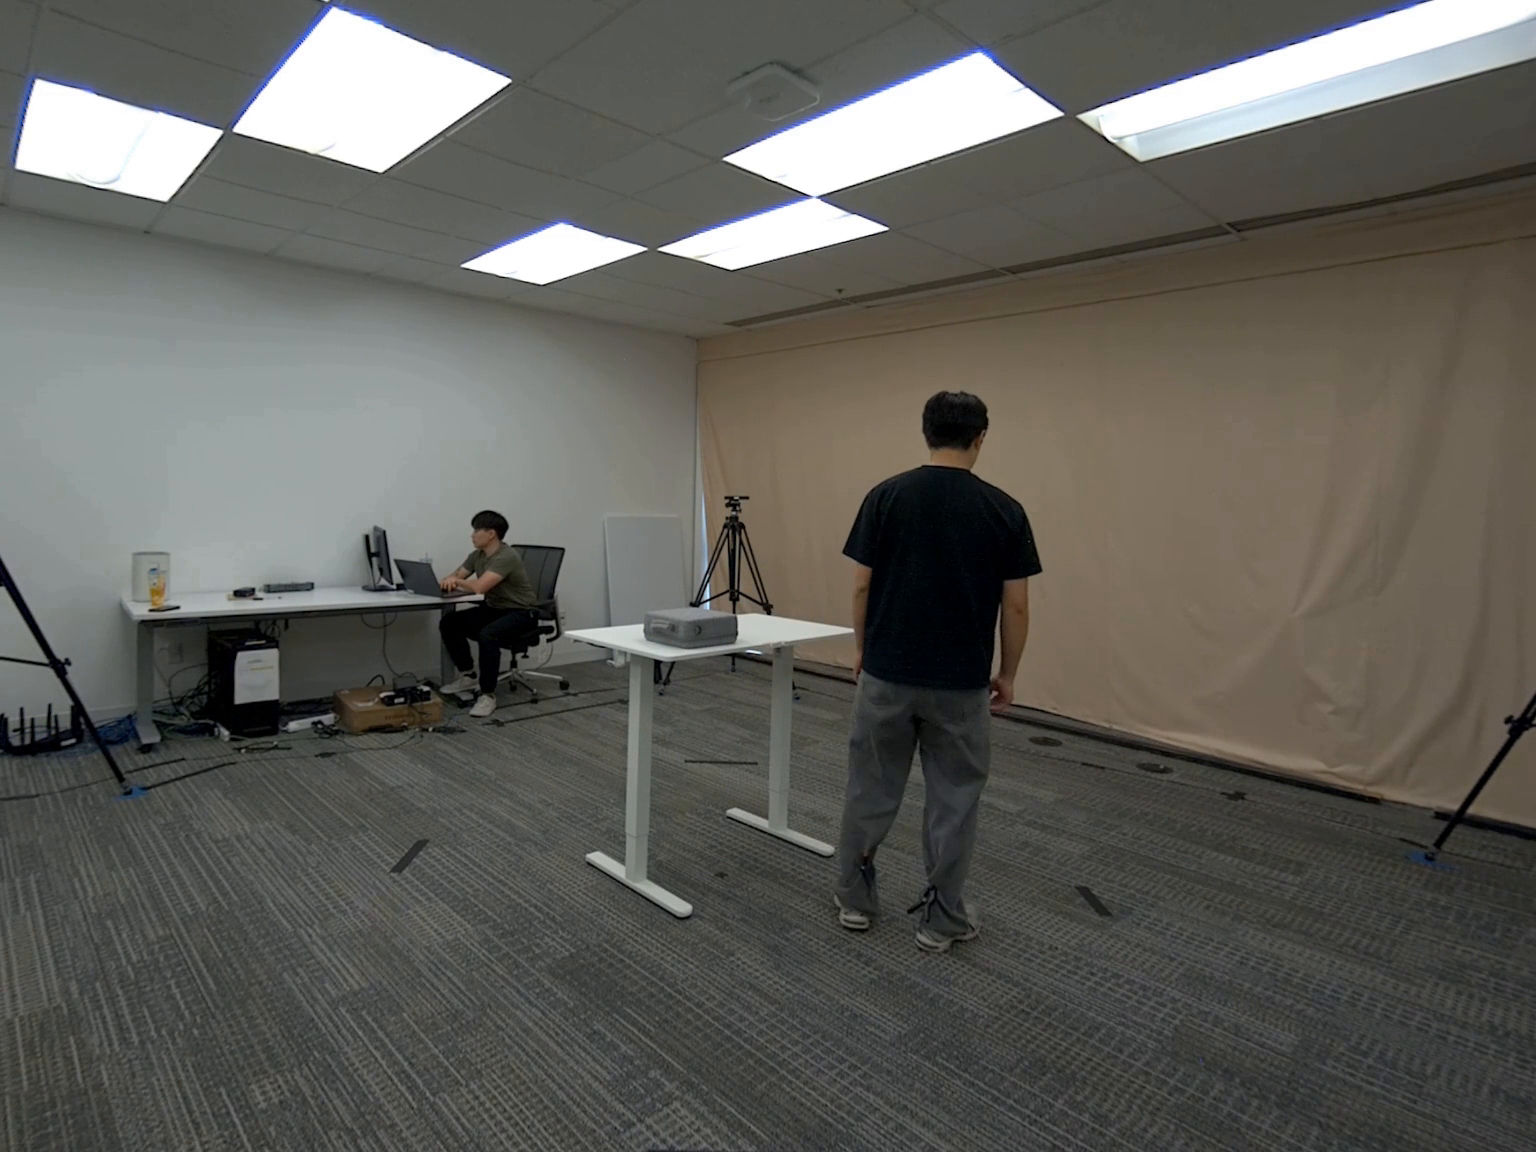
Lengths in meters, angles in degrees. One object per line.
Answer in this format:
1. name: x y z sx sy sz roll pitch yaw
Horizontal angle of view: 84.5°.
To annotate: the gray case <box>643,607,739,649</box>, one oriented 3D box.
1. gray case: -0.280 0.179 2.945 0.264 0.104 0.254 8 8 44
